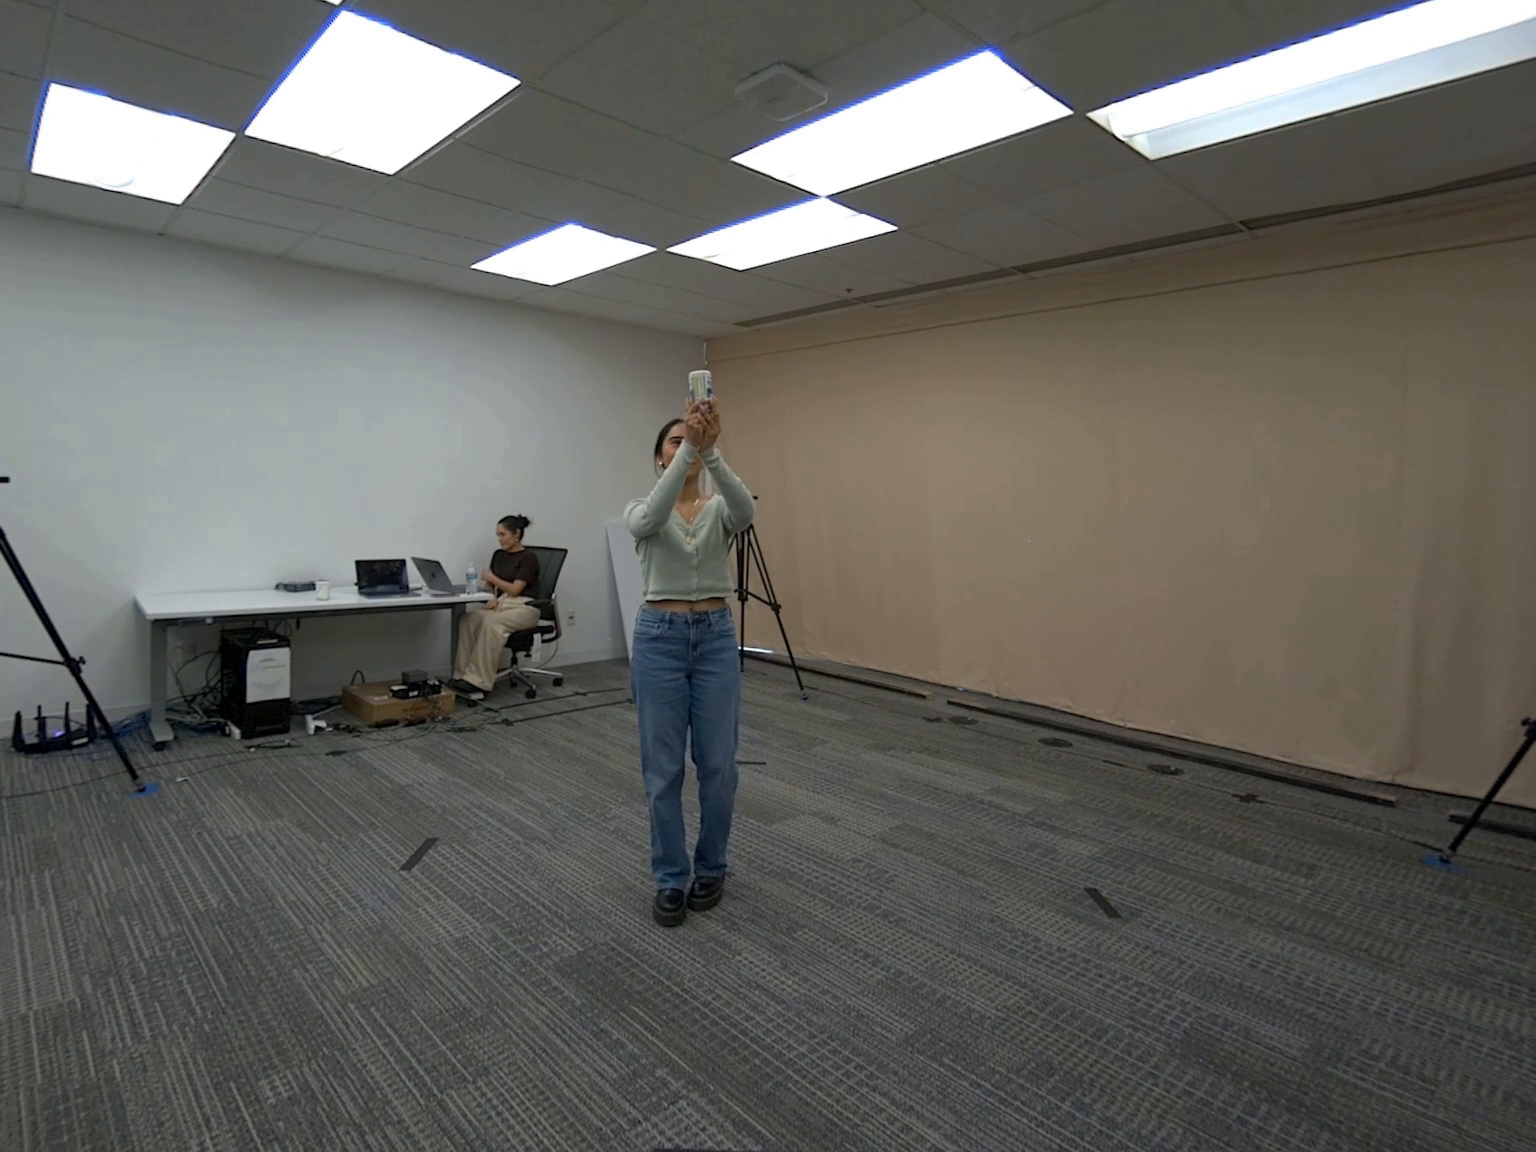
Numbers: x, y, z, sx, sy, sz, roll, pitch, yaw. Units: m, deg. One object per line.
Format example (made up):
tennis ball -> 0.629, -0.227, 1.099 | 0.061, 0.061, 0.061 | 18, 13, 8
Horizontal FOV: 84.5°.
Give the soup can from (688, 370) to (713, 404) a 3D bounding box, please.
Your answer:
soup can -> -0.197, -0.537, 2.477 | 0.067, 0.121, 0.067 | -4, -1, -1
